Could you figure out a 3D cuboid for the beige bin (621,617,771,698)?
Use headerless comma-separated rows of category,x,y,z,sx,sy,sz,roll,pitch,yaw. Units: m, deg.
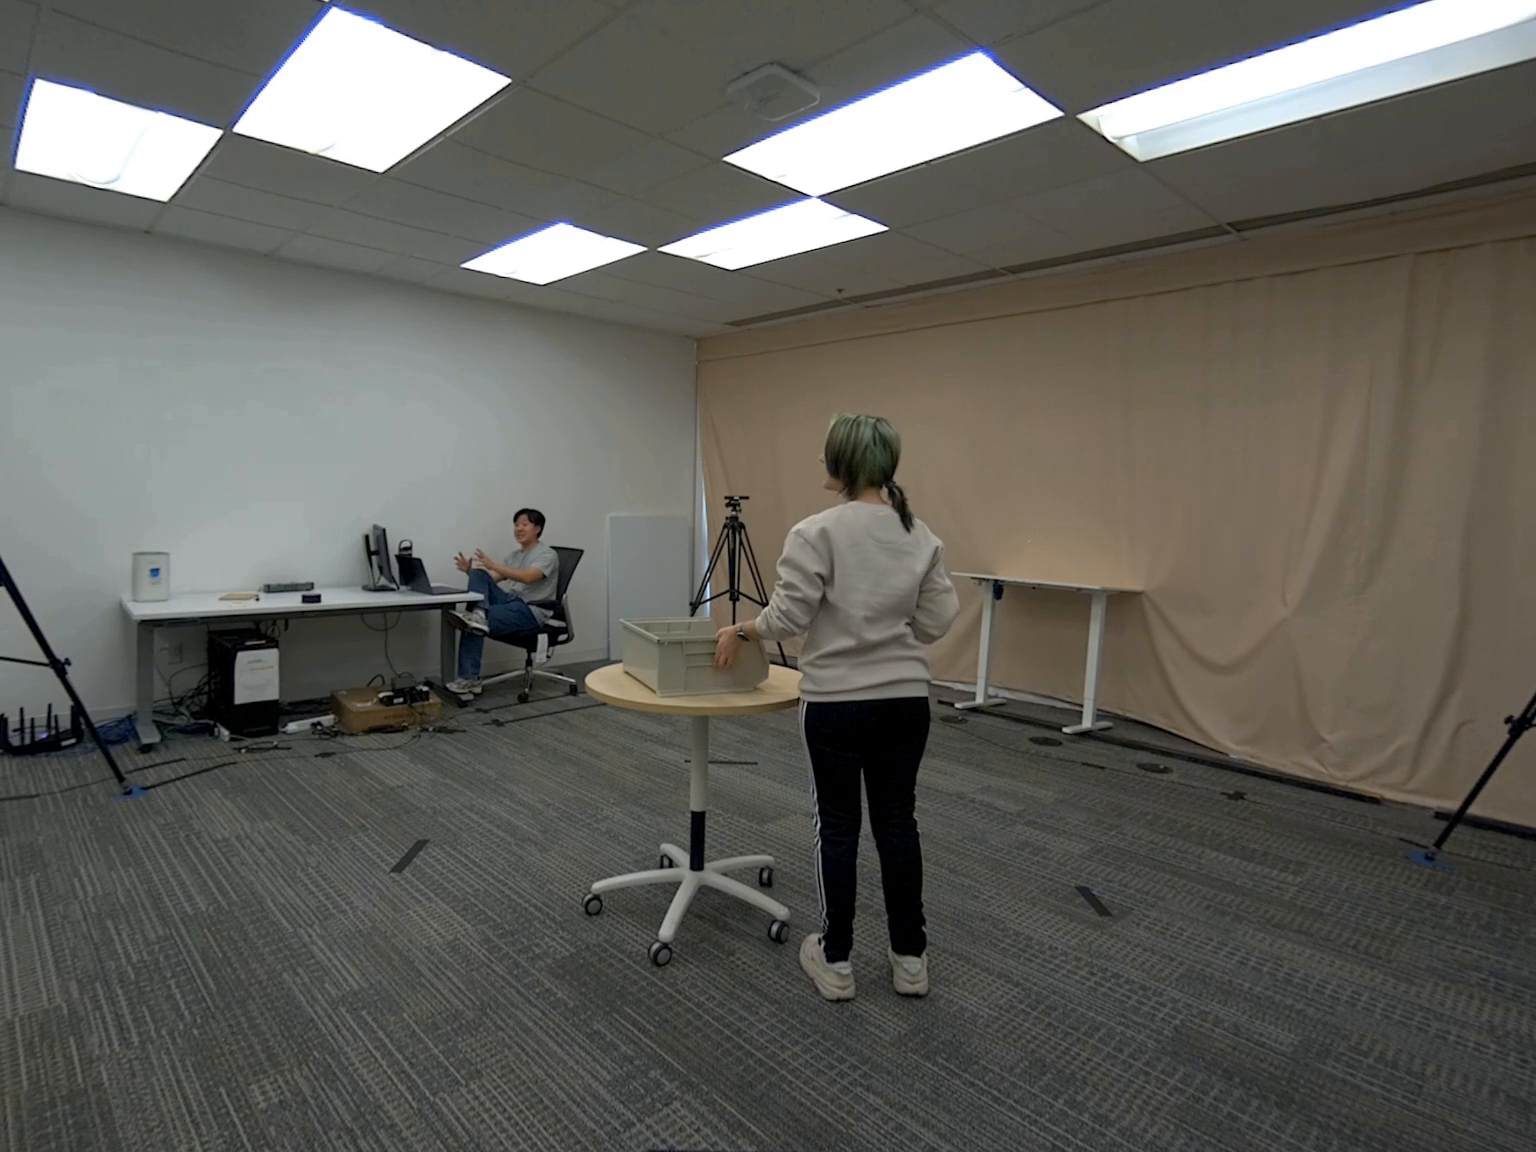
beige bin,-0.265,0.259,2.772,0.371,0.188,0.431,-2,7,-23
